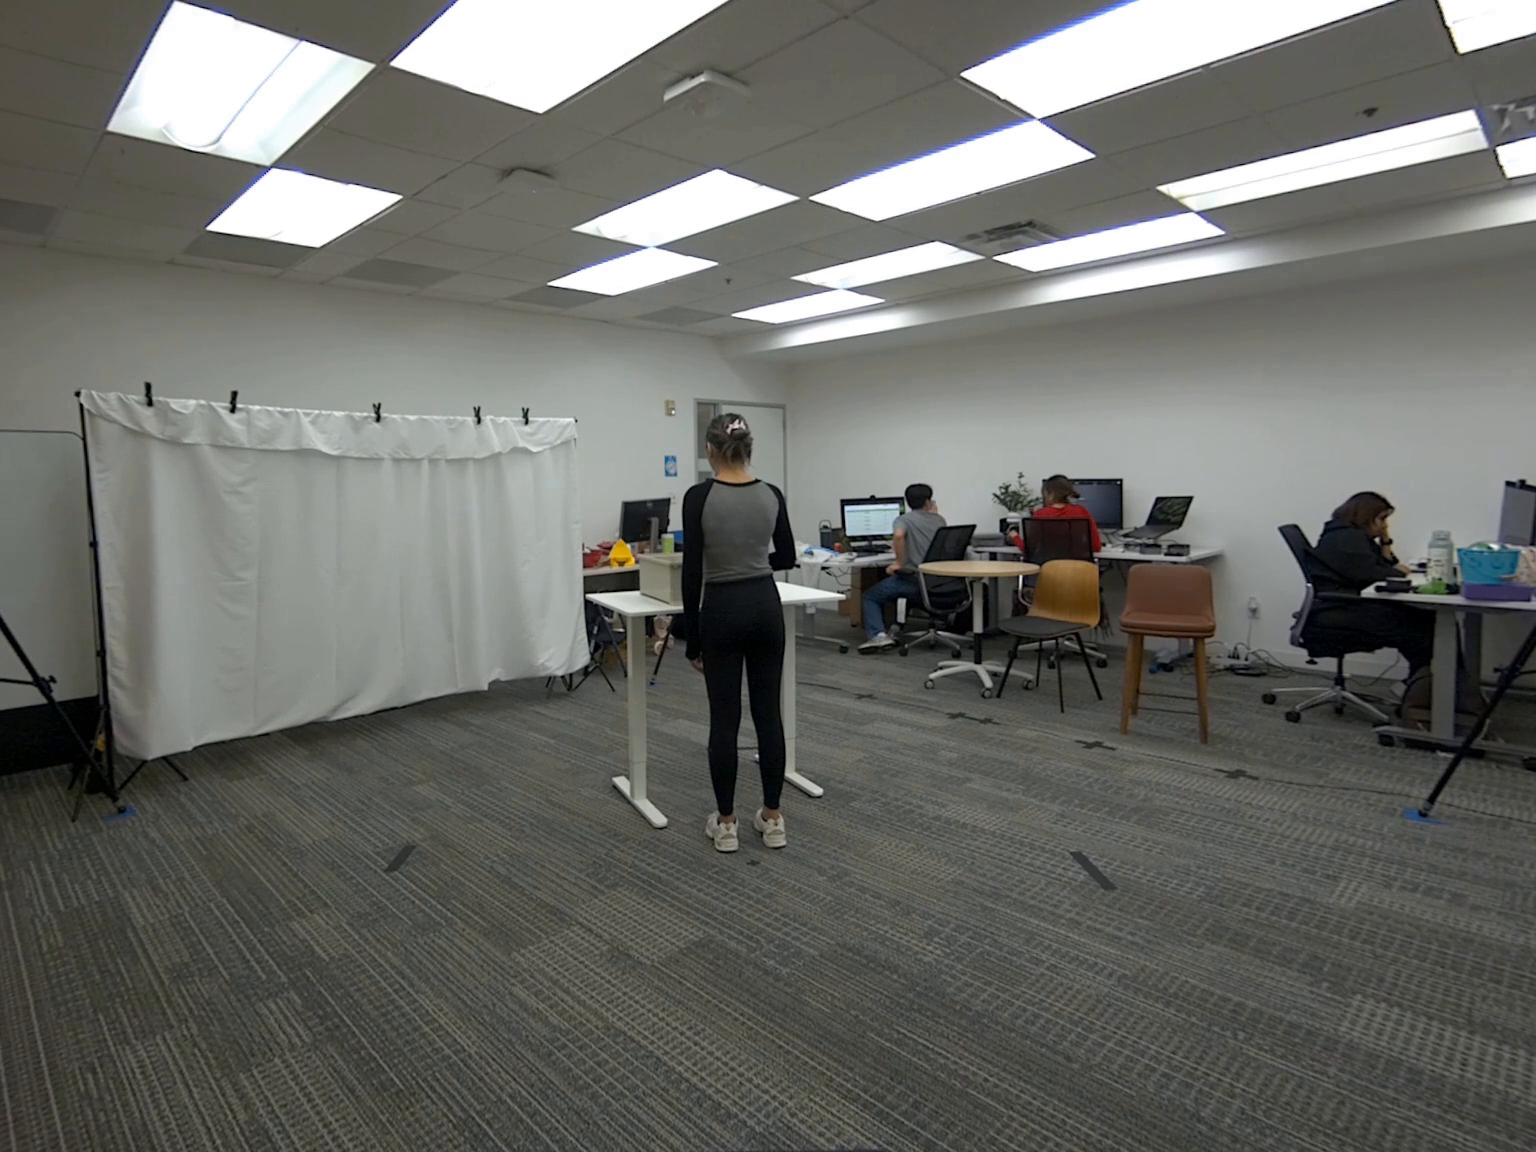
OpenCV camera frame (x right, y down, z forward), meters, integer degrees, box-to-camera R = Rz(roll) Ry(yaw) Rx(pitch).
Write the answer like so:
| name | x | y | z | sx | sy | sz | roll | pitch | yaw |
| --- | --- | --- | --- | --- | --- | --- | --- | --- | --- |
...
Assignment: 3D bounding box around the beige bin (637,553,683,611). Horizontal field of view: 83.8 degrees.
| name | x | y | z | sx | sy | sz | roll | pitch | yaw |
| --- | --- | --- | --- | --- | --- | --- | --- | --- | --- |
| beige bin | -0.323 | 0.009 | 3.717 | 0.369 | 0.188 | 0.433 | -4 | 7 | -26 |
